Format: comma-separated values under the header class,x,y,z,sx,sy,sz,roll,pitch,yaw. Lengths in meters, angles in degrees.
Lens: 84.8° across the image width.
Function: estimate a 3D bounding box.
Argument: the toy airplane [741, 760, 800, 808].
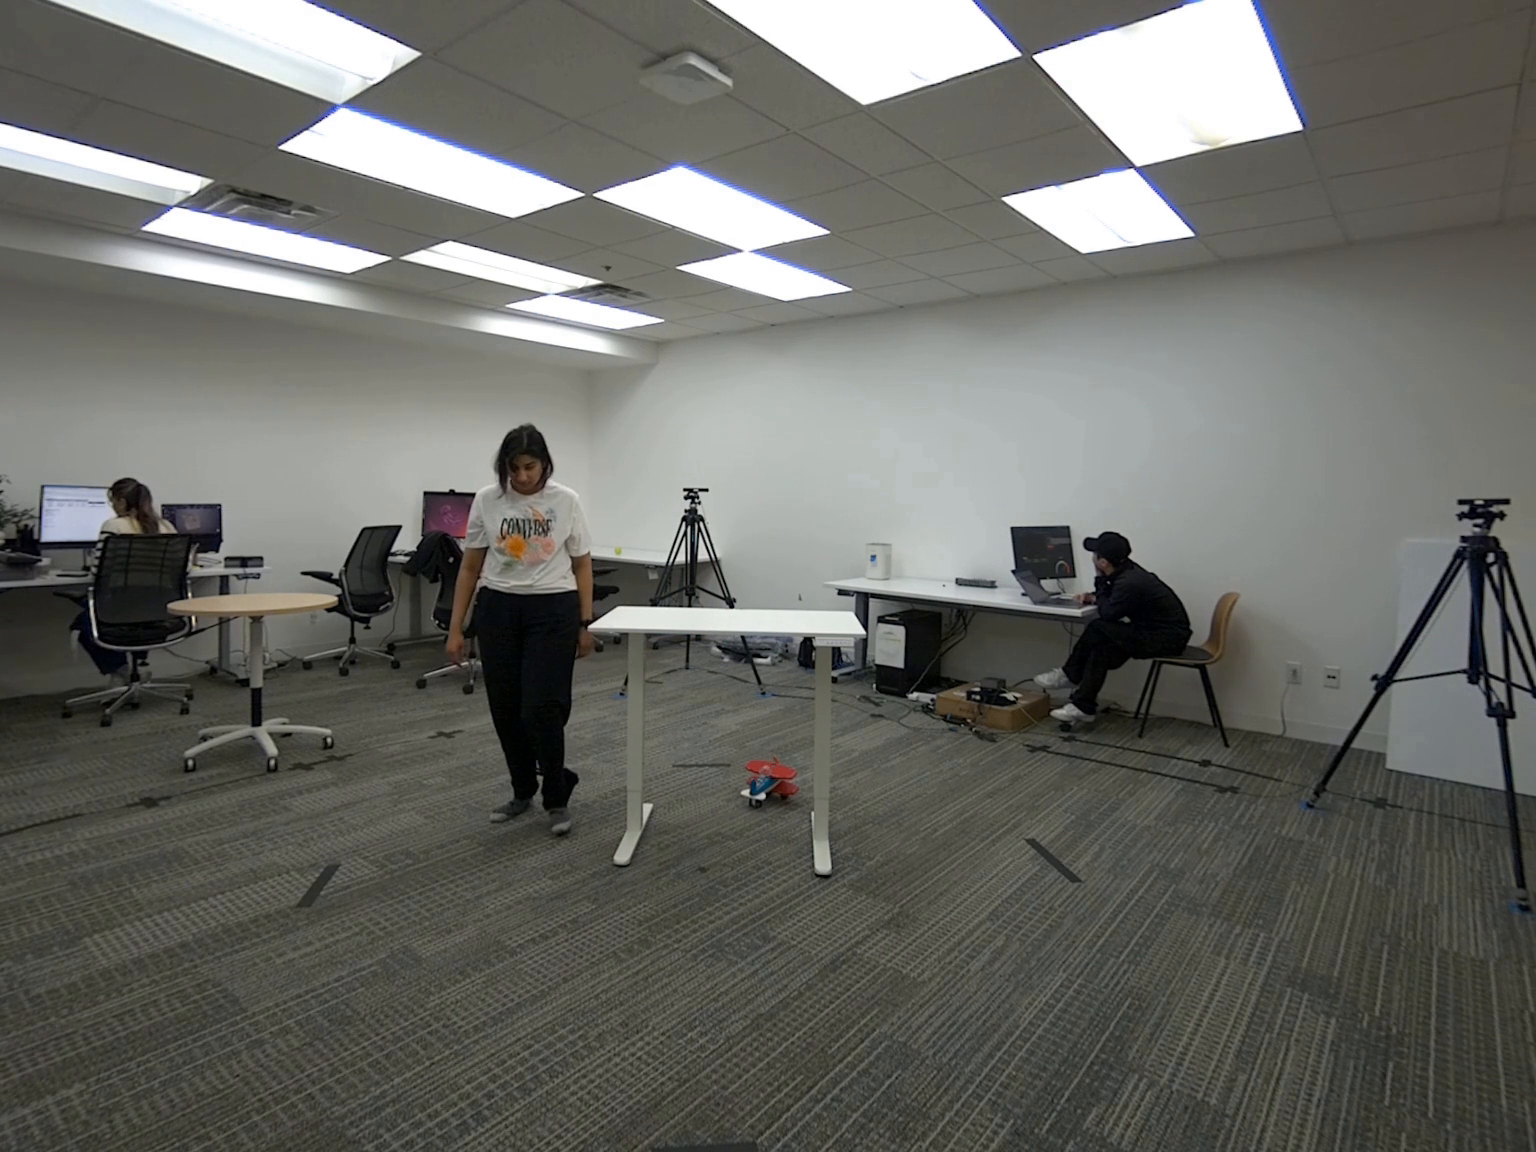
class,x,y,z,sx,sy,sz,roll,pitch,yaw
toy airplane,0.000,0.938,3.808,0.253,0.156,0.258,2,3,6
